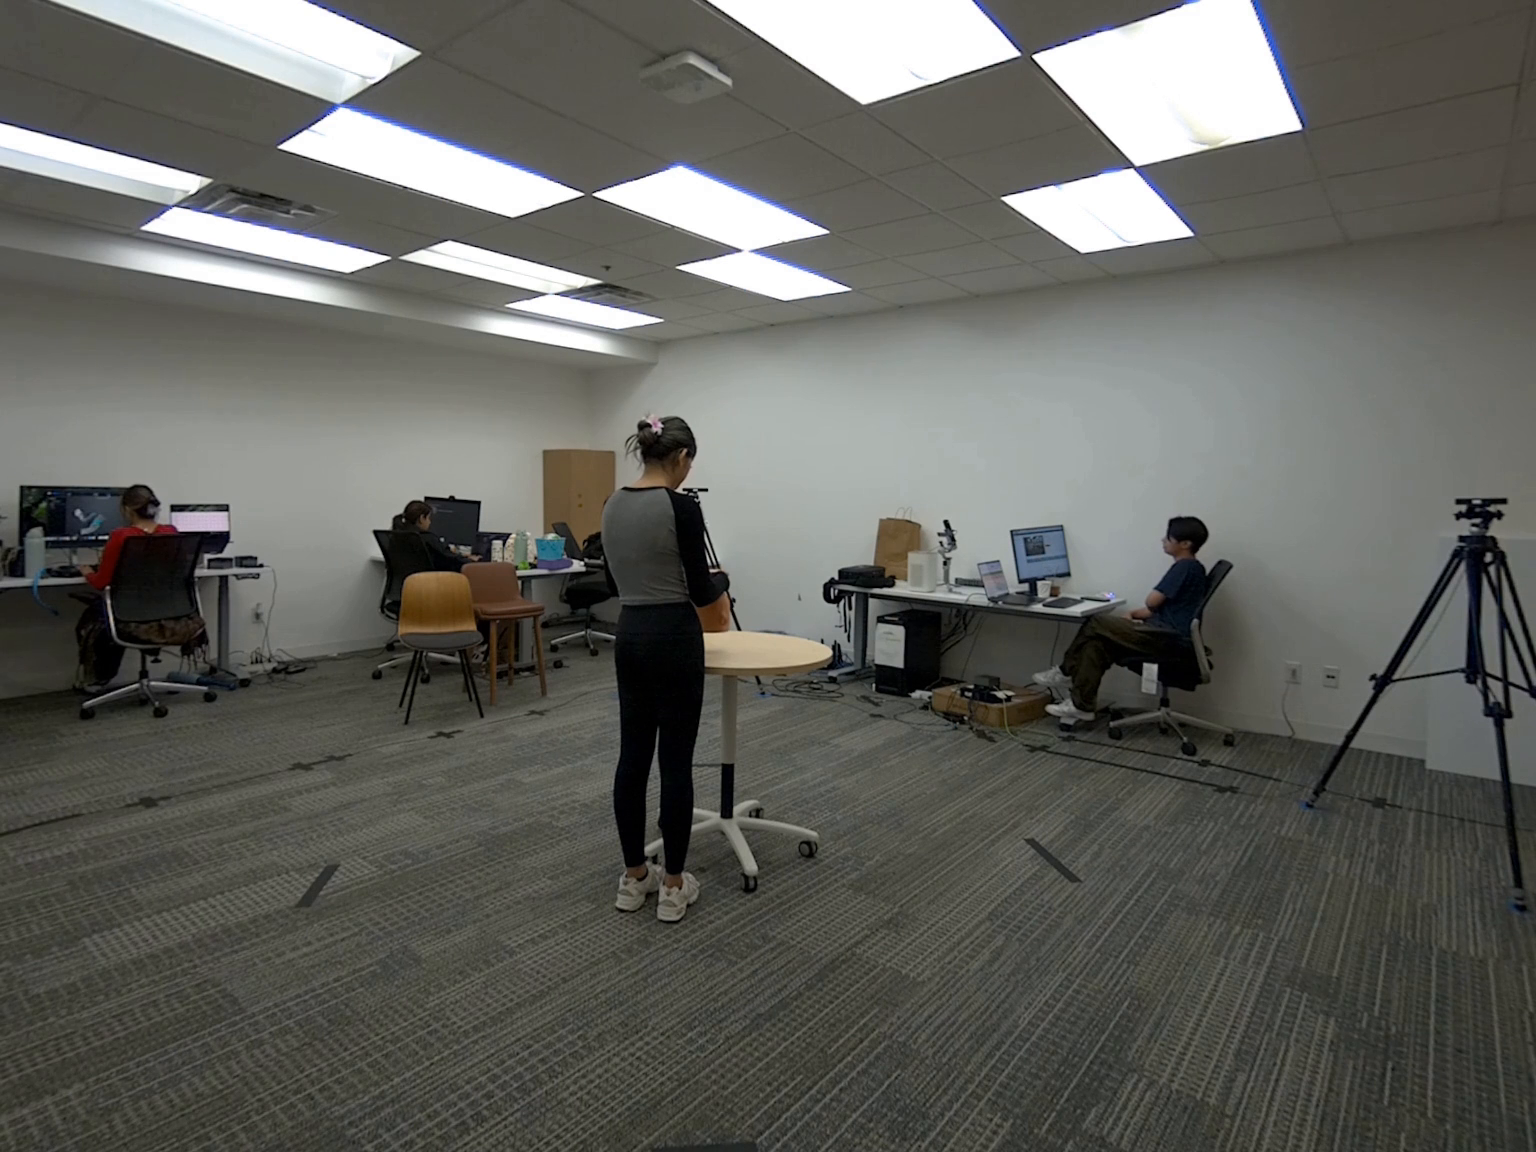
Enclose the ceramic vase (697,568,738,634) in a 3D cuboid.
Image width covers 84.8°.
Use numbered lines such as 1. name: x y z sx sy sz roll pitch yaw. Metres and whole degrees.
1. ceramic vase: -0.209 0.087 3.107 0.162 0.219 0.132 1 4 17
